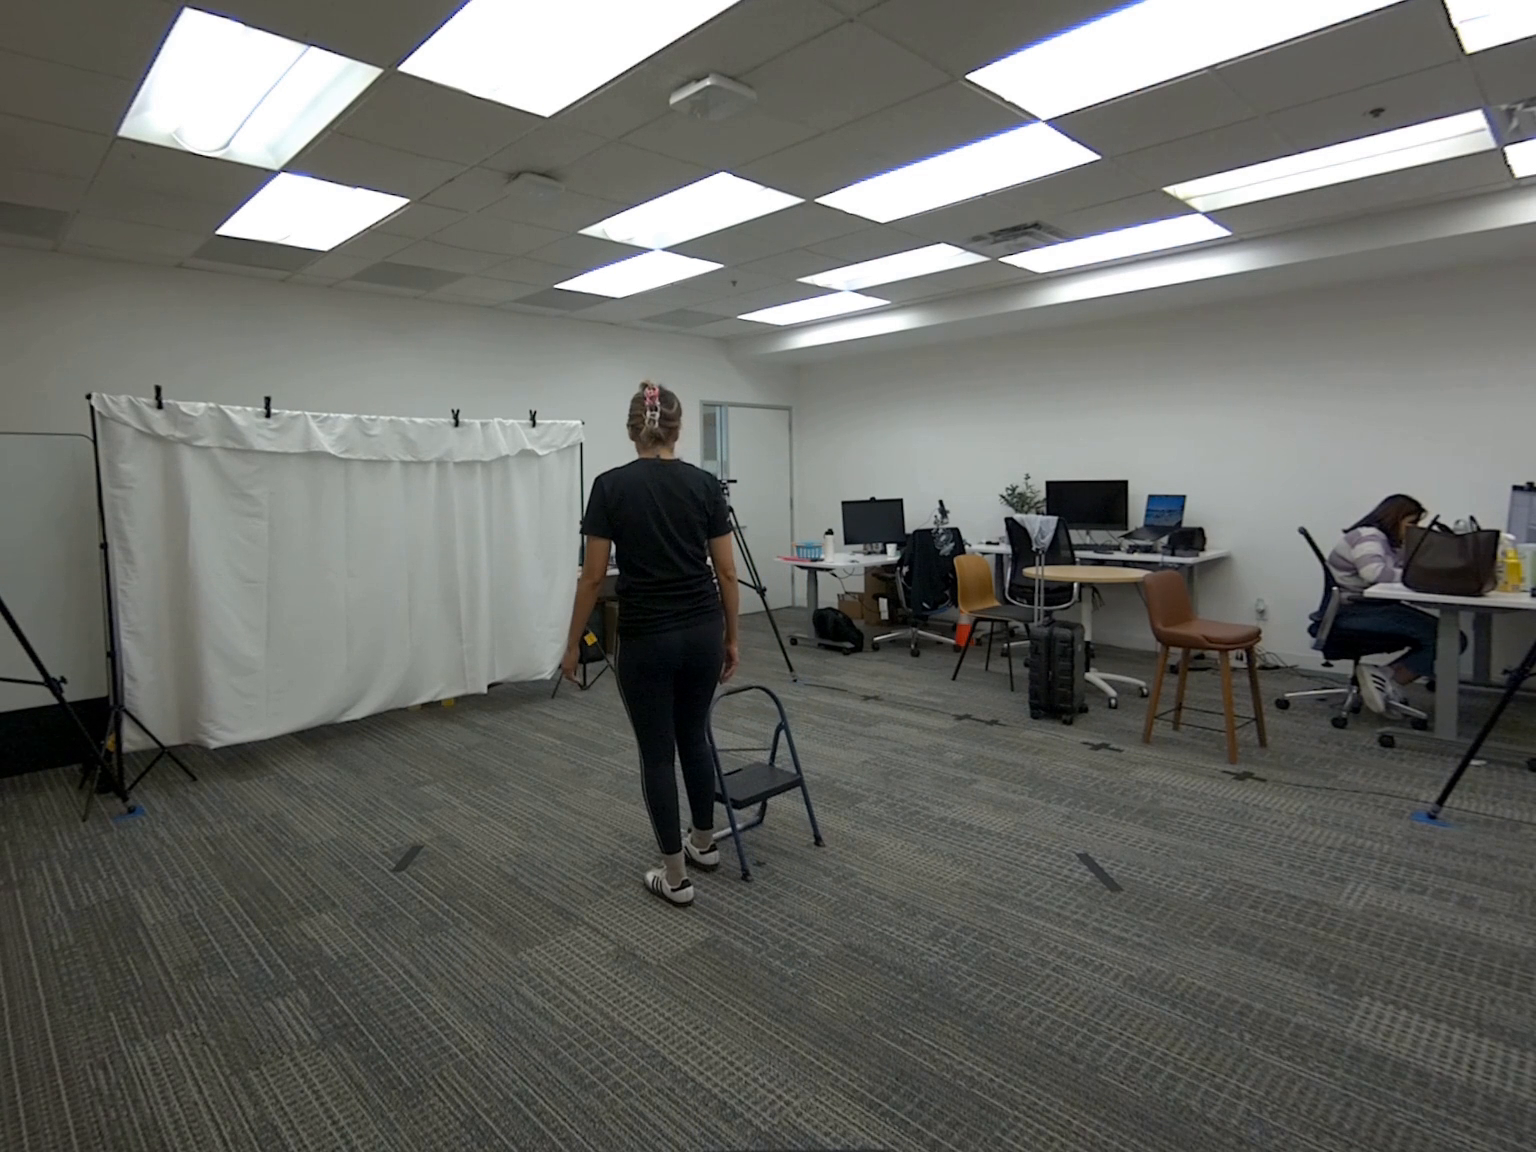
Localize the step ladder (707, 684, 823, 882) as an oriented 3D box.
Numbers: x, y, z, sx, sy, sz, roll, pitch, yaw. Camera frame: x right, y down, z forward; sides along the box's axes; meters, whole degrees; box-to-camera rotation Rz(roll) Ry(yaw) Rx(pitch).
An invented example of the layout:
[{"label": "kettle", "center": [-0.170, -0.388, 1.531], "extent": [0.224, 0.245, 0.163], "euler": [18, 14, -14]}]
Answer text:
[{"label": "step ladder", "center": [-0.049, 0.729, 3.225], "extent": [0.360, 0.604, 0.419], "euler": [3, 6, 44]}]
